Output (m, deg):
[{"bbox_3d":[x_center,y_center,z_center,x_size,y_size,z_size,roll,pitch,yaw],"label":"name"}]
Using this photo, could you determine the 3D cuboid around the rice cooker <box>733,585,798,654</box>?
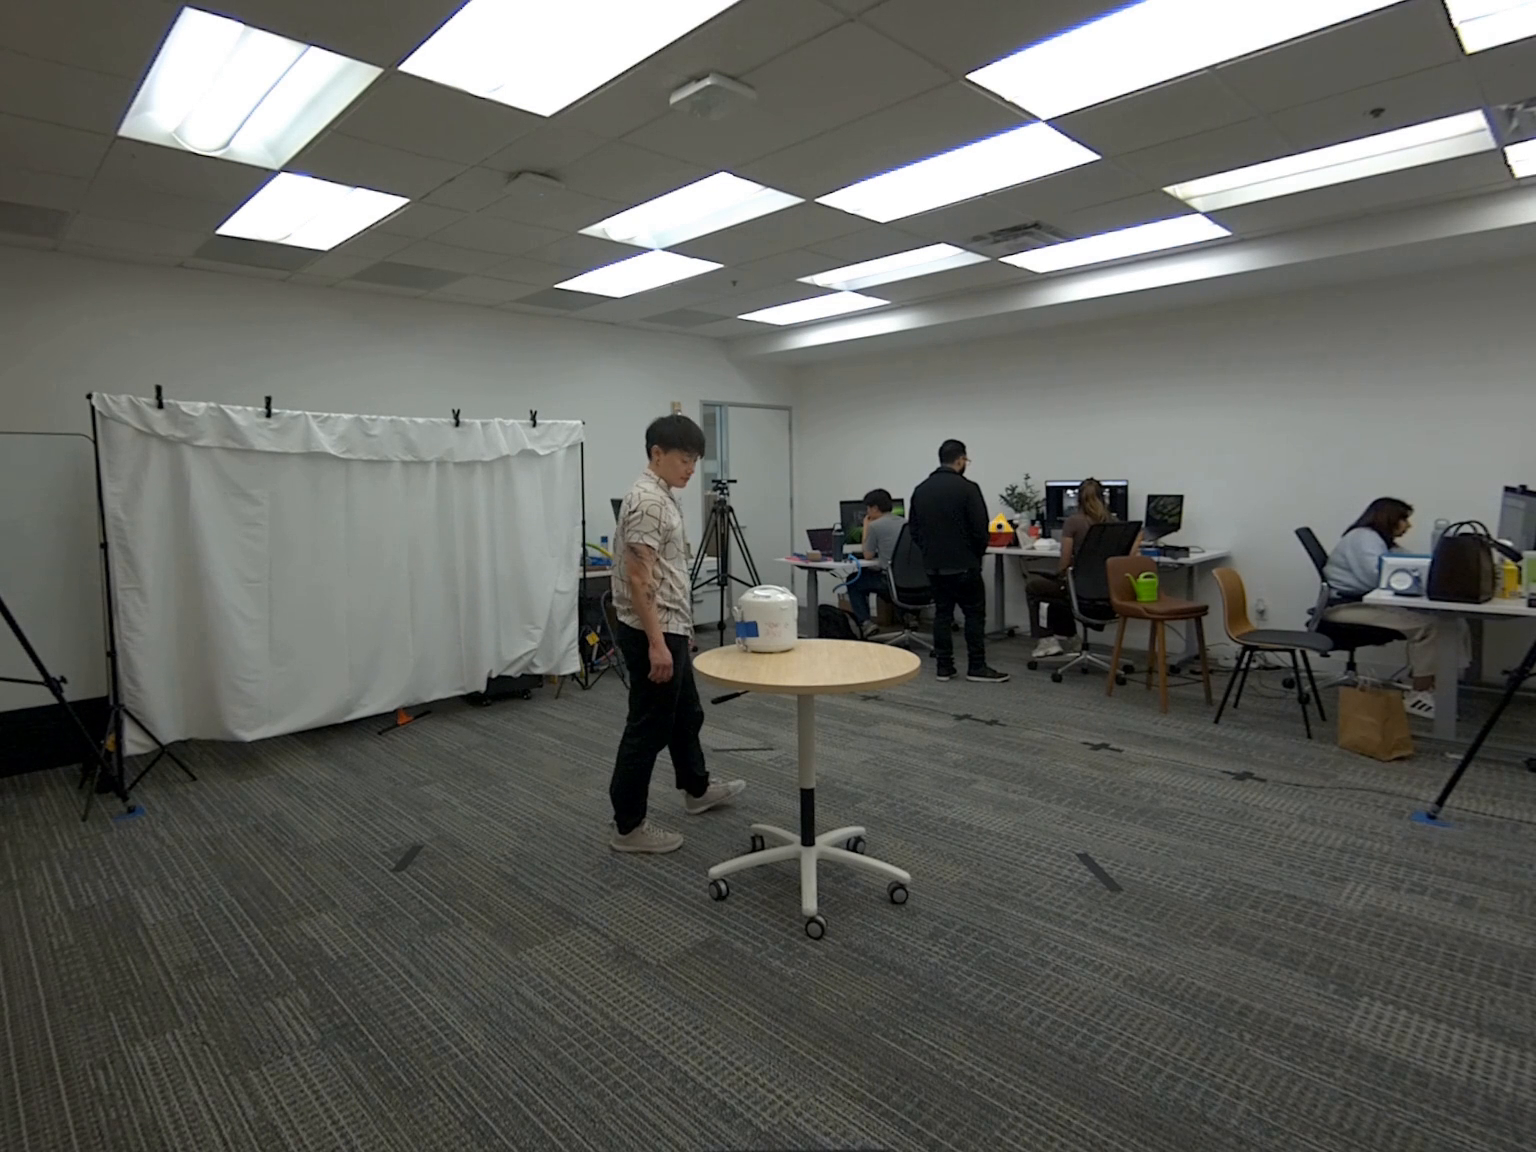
[{"bbox_3d":[-0.002,0.148,3.095,0.225,0.232,0.214,1,6,19],"label":"rice cooker"}]
